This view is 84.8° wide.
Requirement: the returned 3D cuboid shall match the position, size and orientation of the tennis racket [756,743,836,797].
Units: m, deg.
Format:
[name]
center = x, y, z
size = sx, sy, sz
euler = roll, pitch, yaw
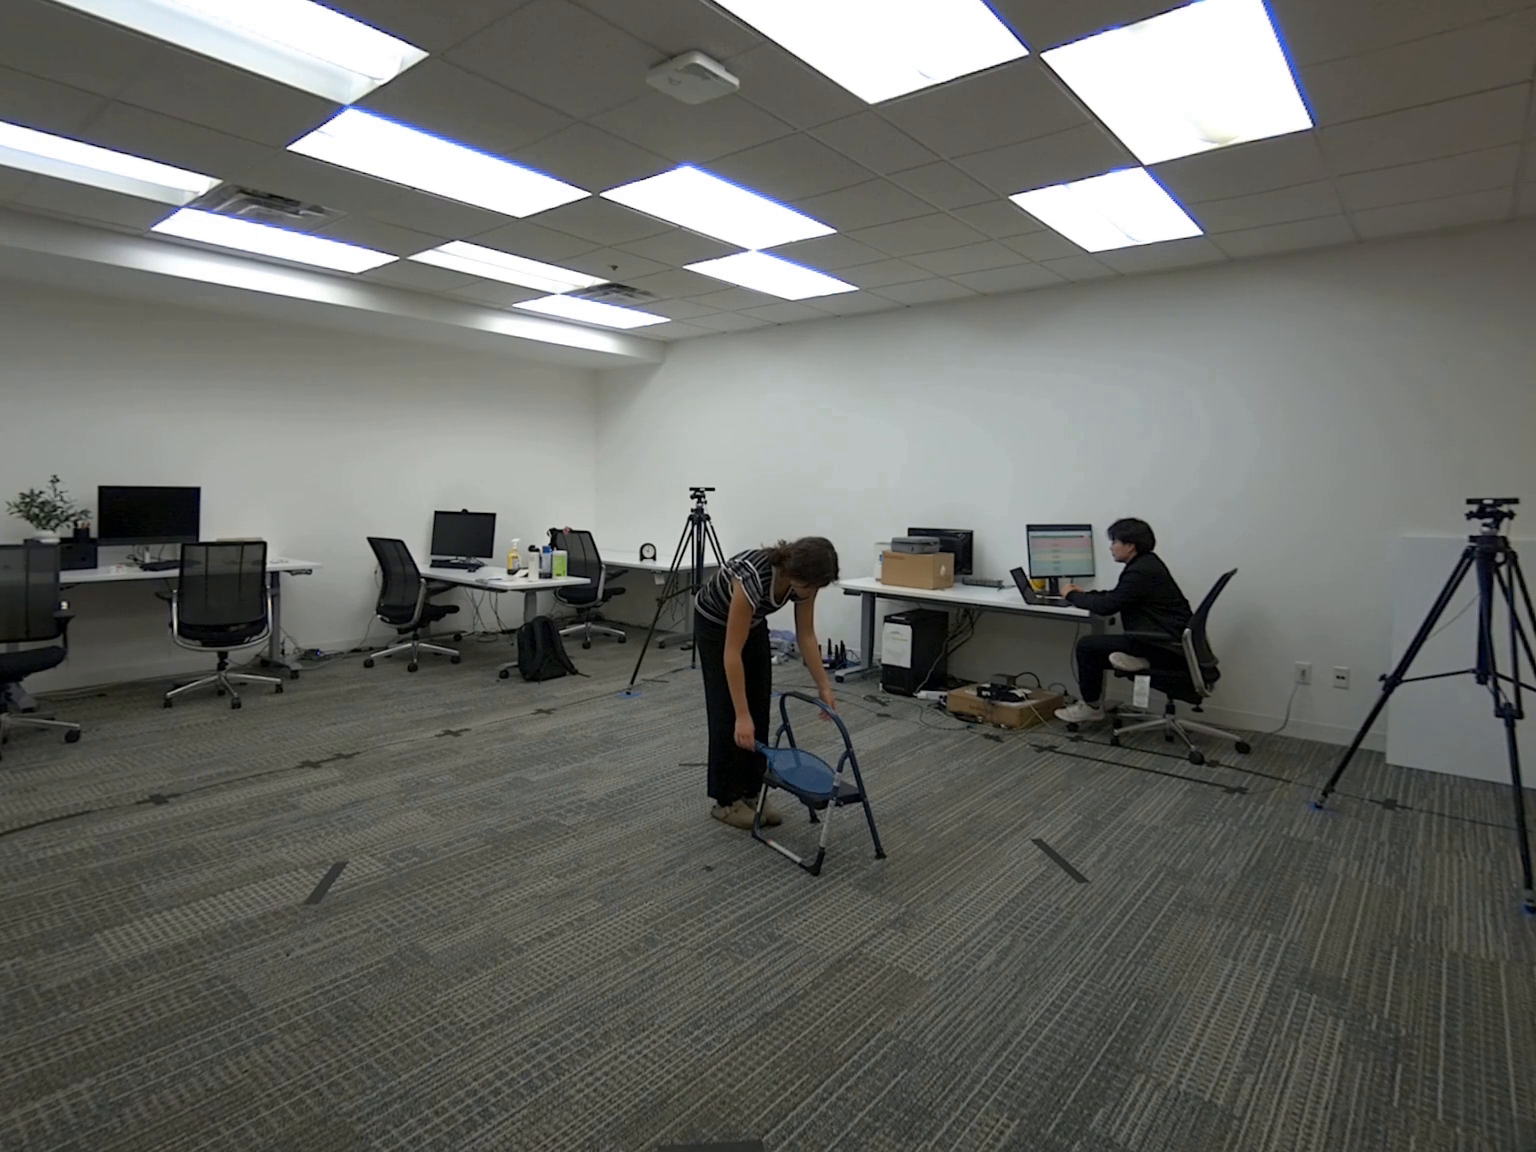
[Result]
[tennis racket]
center = 0.056, 0.692, 3.240
size = 0.445, 0.031, 0.211
euler = 25, 29, 22
